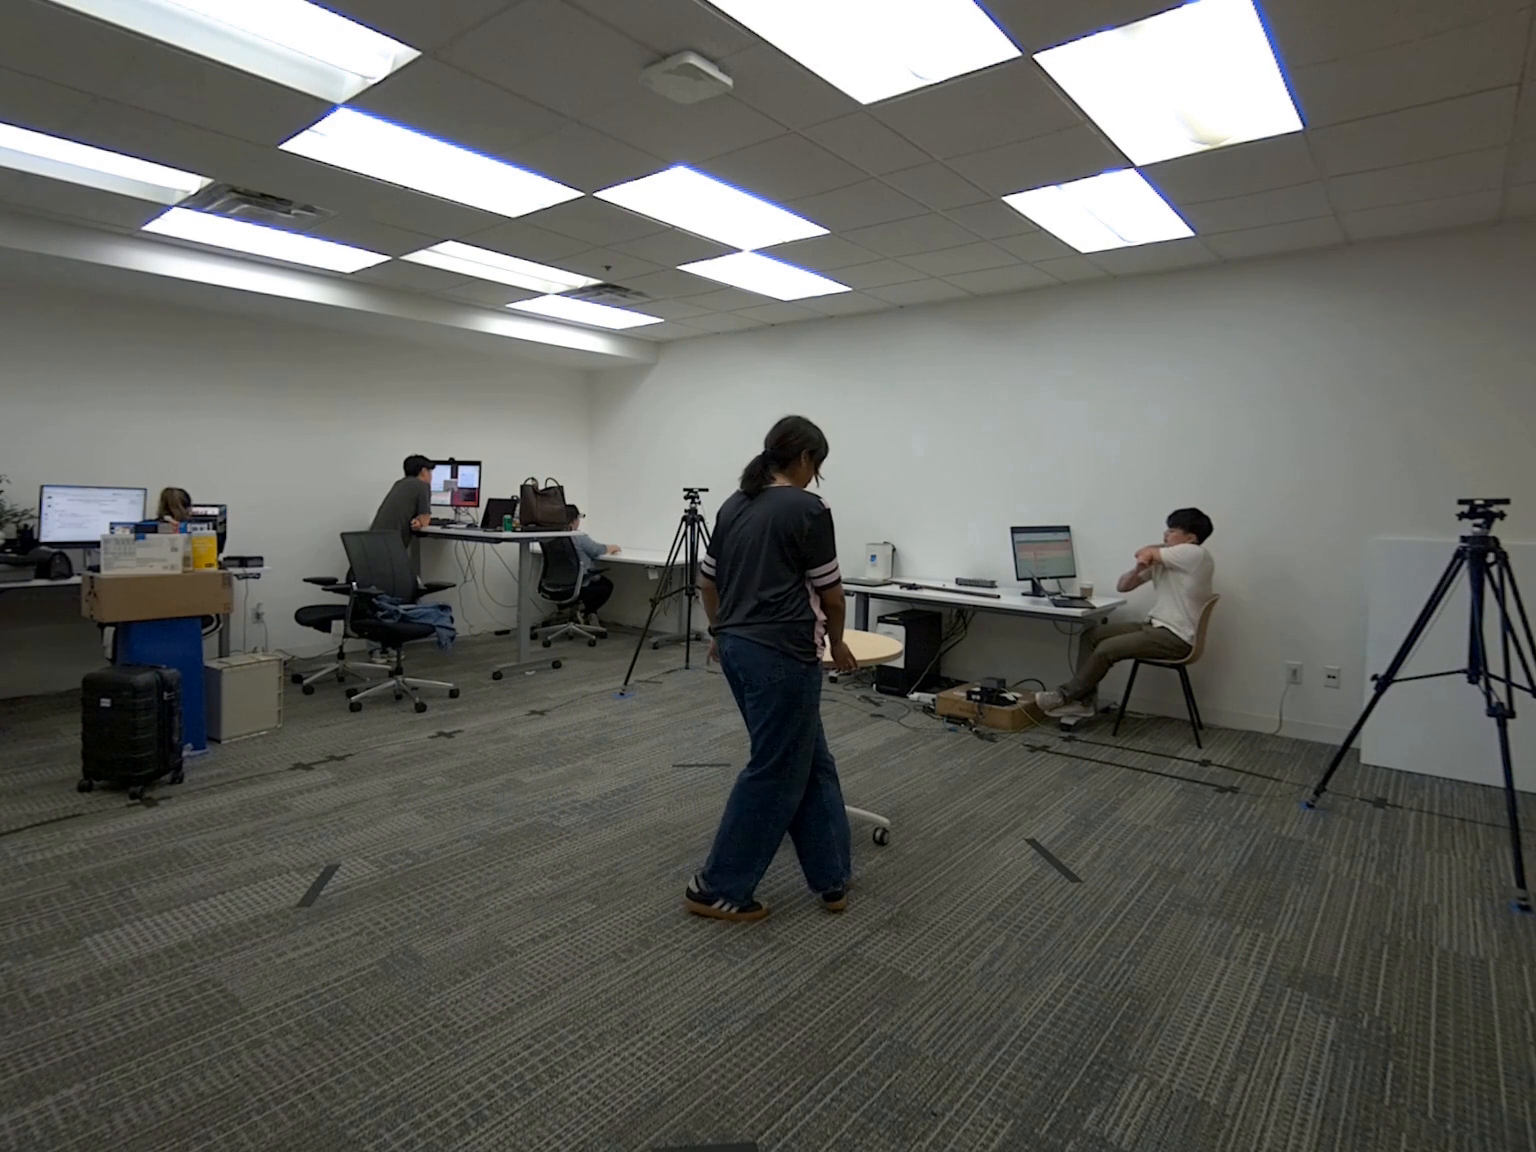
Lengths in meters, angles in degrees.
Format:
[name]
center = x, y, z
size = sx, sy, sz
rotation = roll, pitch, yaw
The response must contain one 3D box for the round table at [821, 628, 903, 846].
[round table]
center = 0.145, 0.646, 3.450
size = 0.784, 0.783, 0.789
rotation = 1, 5, -2
